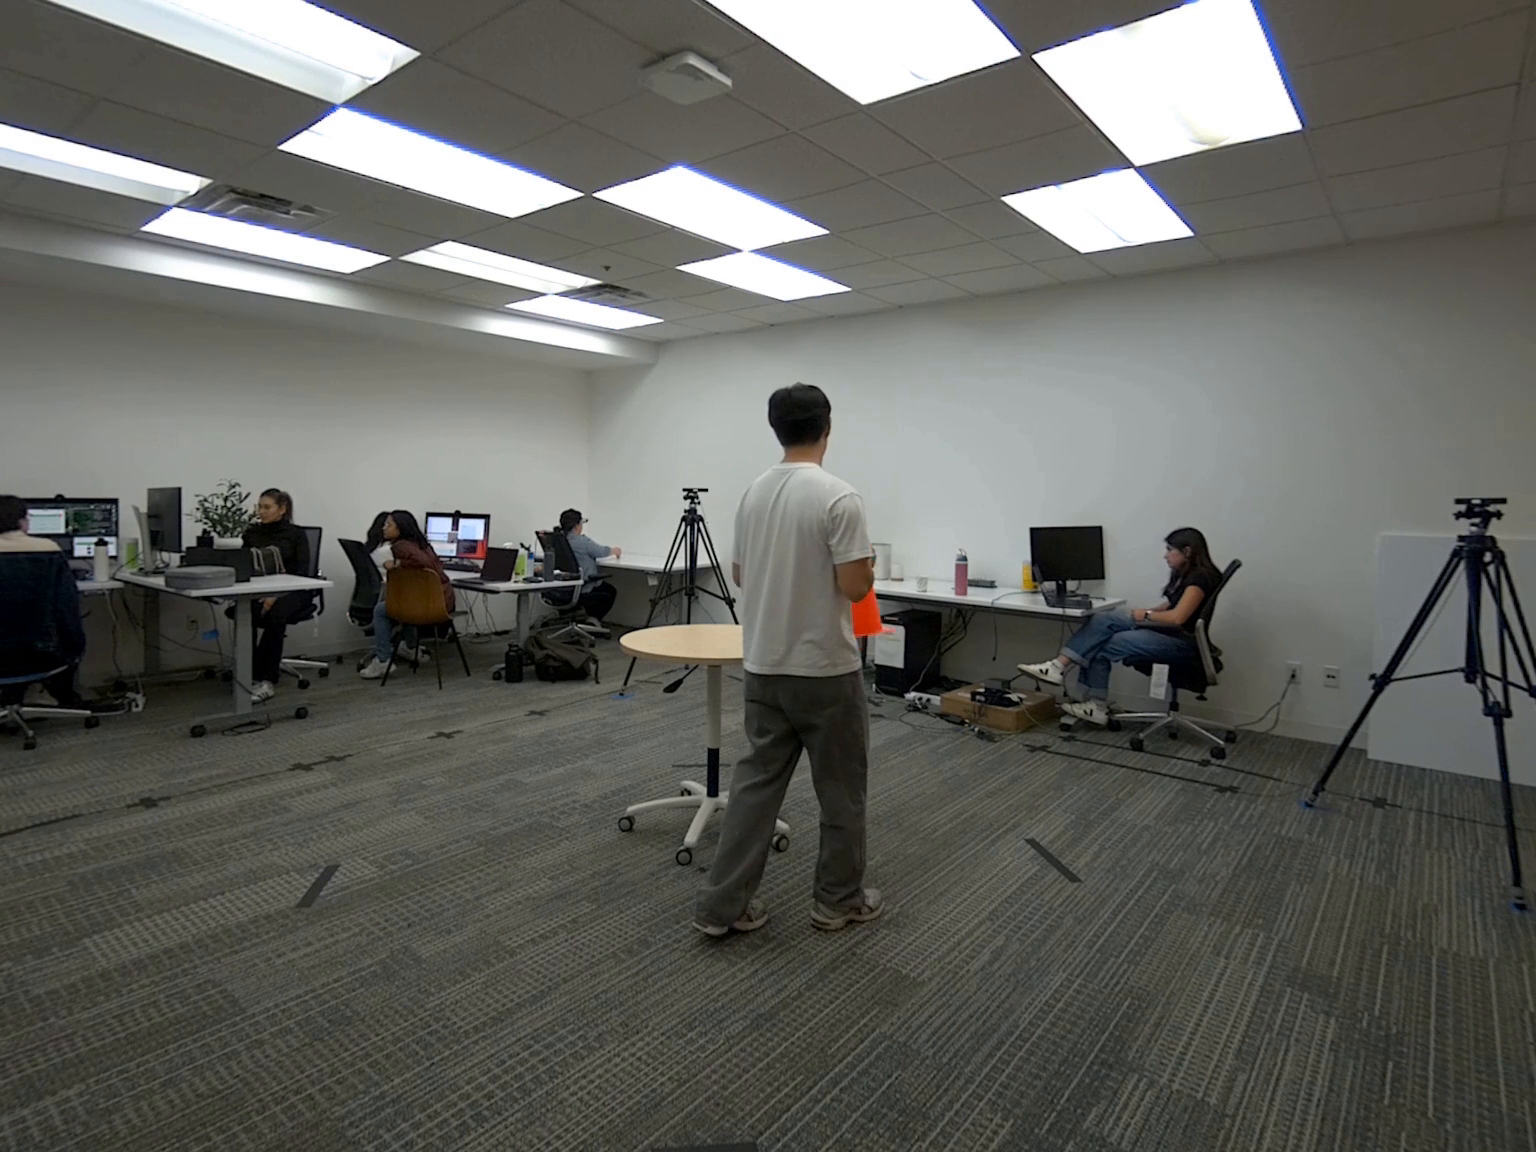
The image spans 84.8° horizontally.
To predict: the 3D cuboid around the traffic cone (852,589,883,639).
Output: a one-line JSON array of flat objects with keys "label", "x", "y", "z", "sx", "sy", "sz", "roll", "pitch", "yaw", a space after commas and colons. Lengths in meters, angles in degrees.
[{"label": "traffic cone", "x": 0.299, "y": -0.009, "z": 2.864, "sx": 0.210, "sy": 0.381, "sz": 0.199, "roll": 1, "pitch": 7, "yaw": 27}]
